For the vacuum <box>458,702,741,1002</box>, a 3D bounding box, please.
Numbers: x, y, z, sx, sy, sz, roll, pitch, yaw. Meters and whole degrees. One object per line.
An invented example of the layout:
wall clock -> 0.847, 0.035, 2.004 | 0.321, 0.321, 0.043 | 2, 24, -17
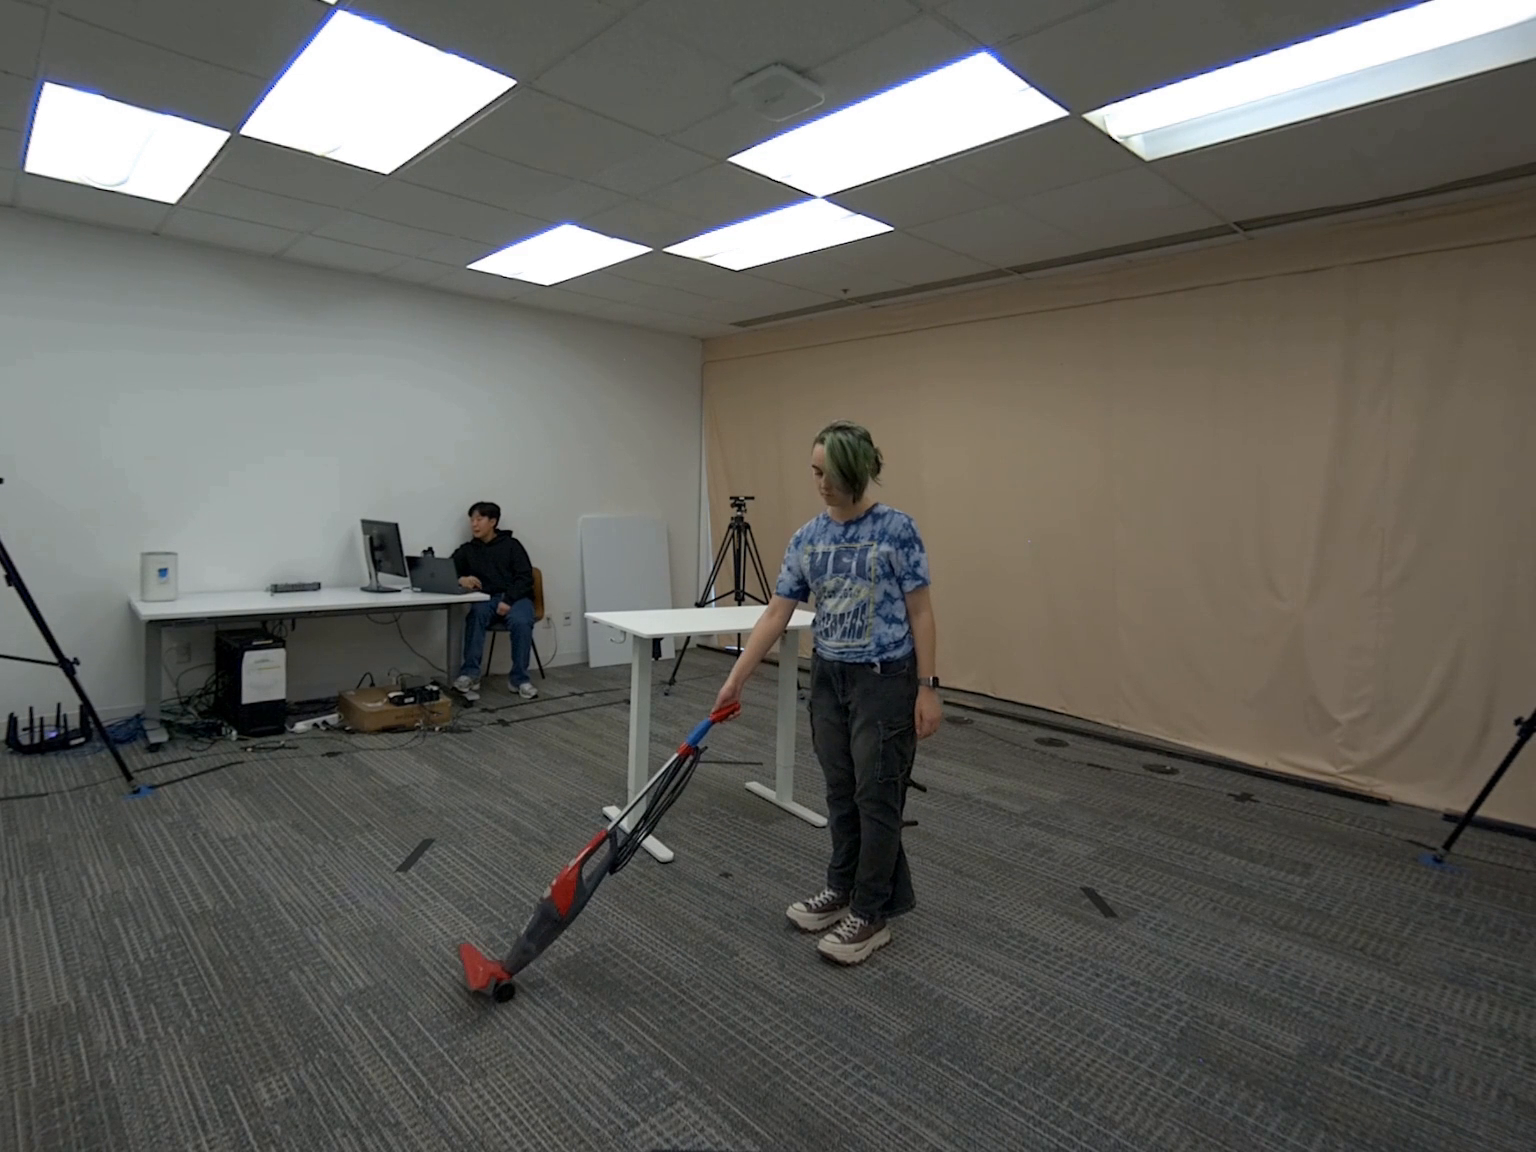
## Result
vacuum -> -0.439, 0.784, 2.481 | 1.048, 0.140, 0.259 | -43, 27, -18
